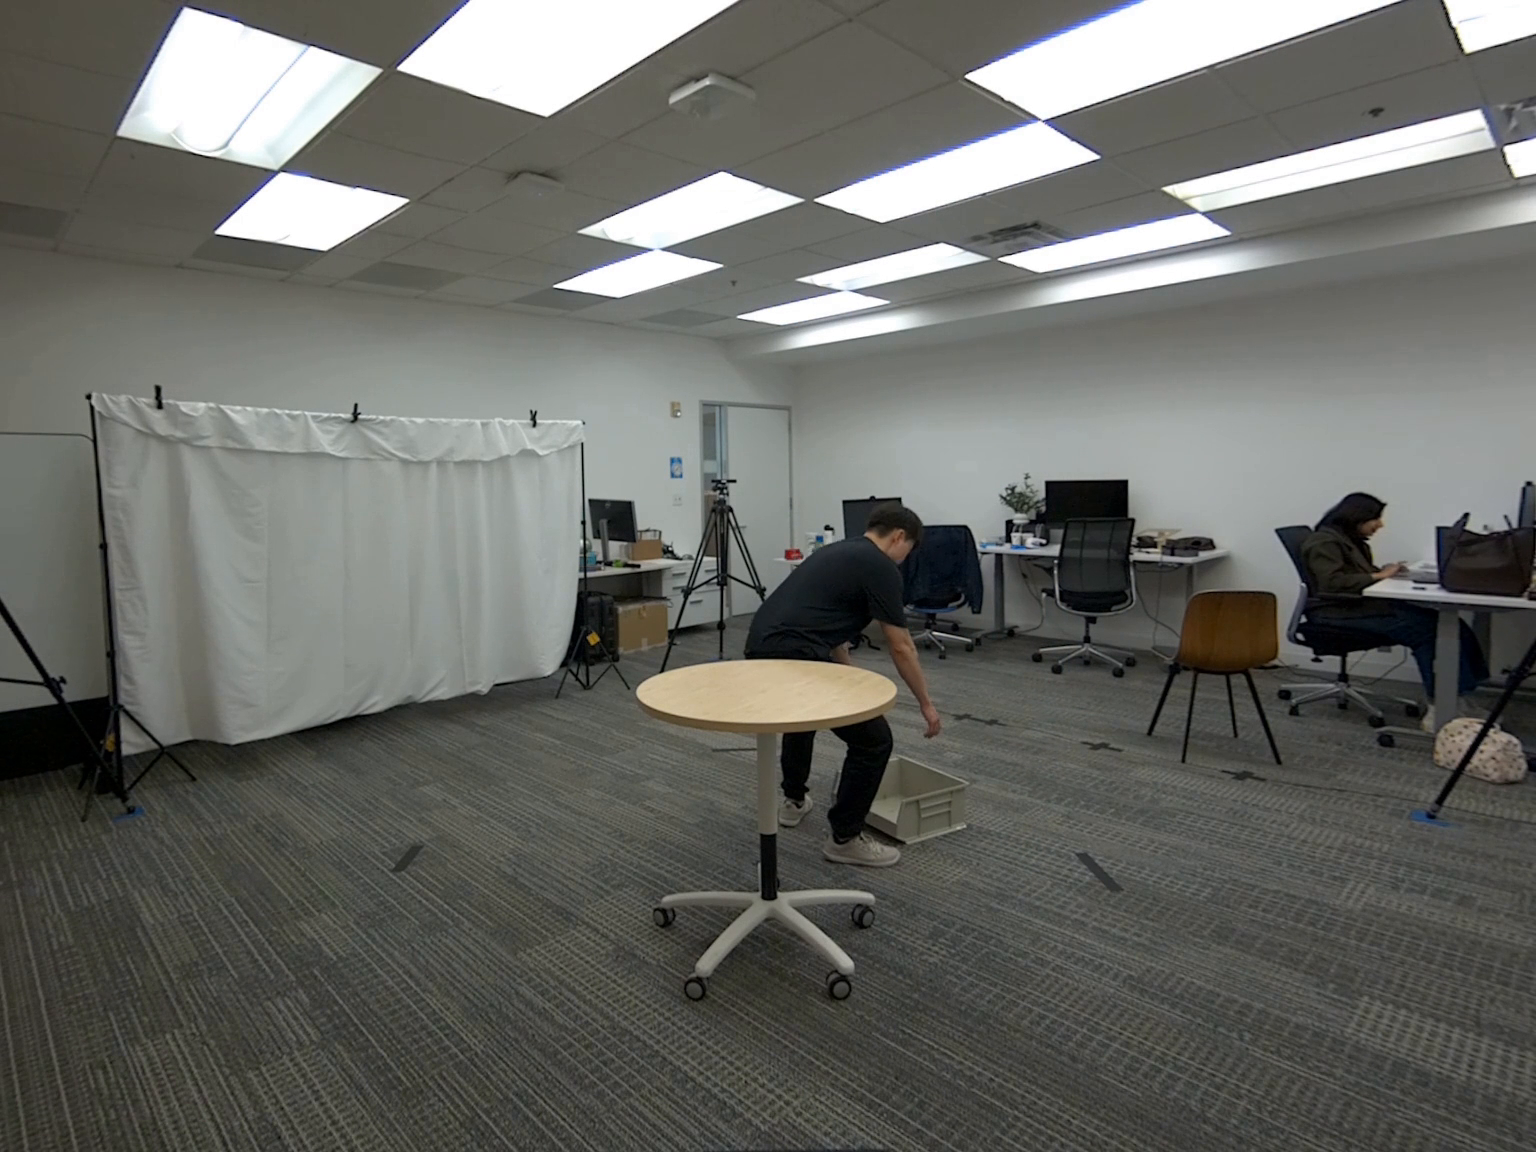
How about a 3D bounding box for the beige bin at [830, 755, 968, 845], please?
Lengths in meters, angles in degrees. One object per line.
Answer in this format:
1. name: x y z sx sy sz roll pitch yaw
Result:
1. beige bin: 0.534 0.908 3.483 0.368 0.188 0.434 -4 6 -32
